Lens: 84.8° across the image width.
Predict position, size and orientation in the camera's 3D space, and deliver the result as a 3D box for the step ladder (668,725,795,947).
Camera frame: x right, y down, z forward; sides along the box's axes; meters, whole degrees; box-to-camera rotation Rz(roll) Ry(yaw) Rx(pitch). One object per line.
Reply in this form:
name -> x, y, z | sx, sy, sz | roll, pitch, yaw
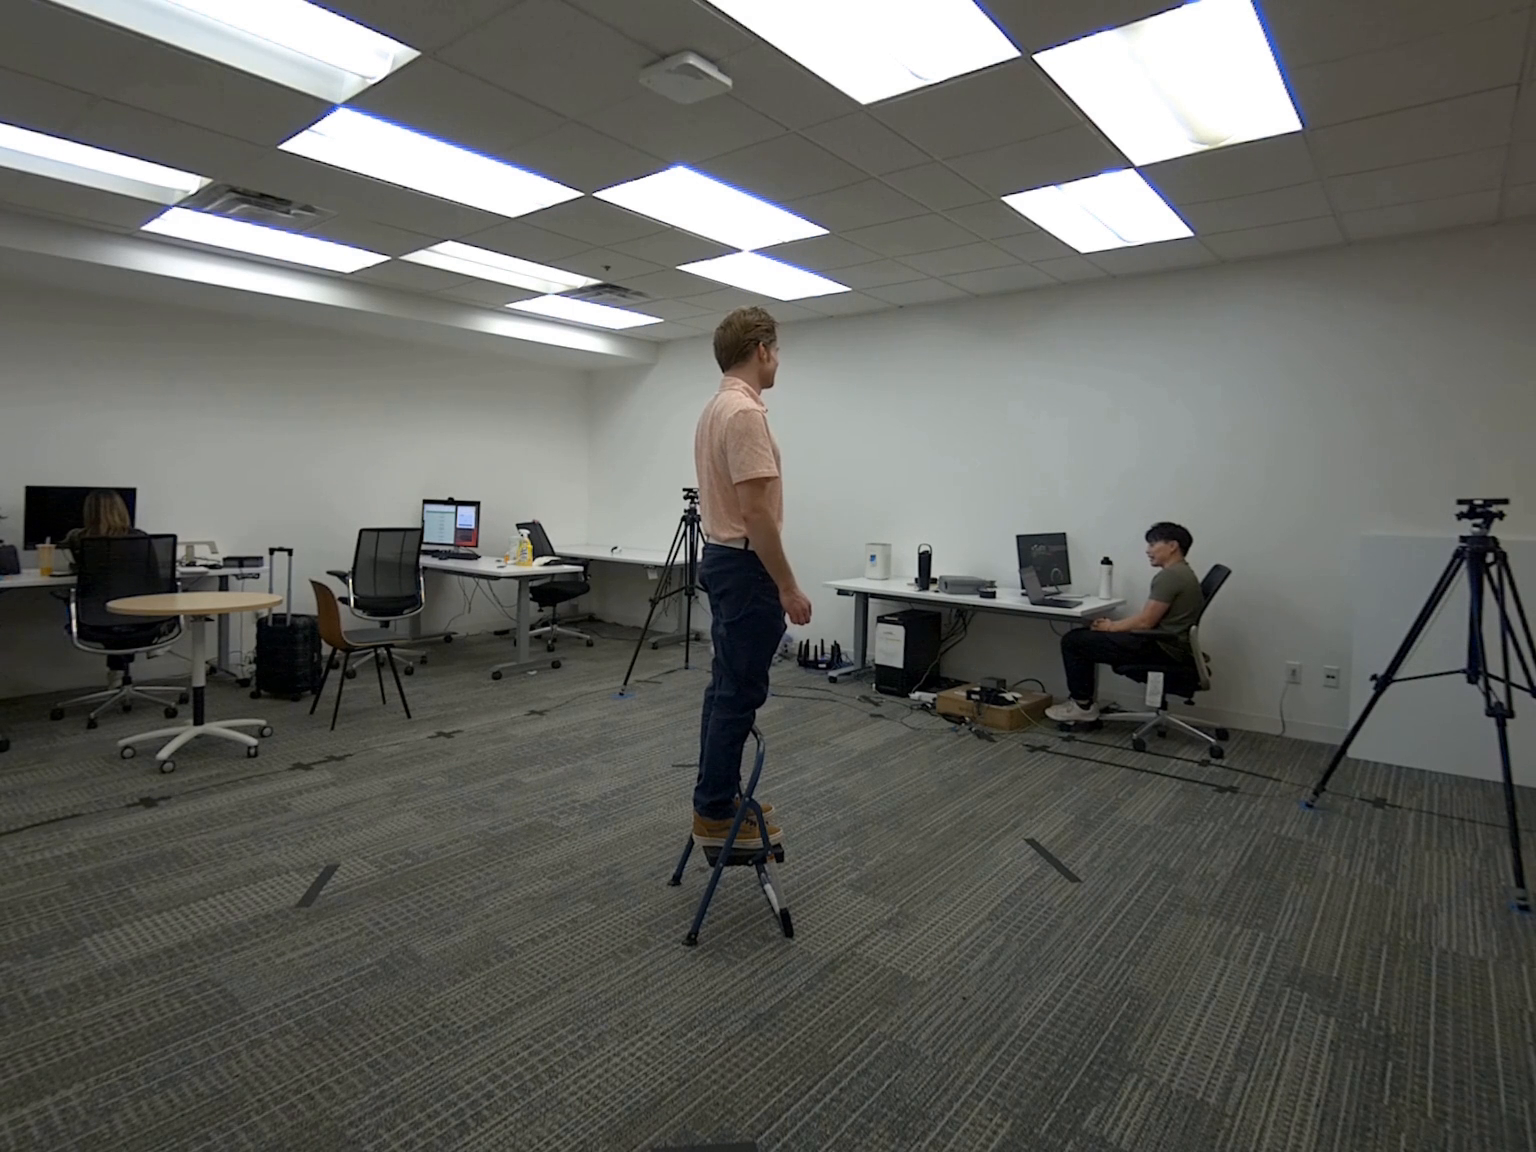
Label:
step ladder -> -0.129, 0.803, 2.803 | 0.345, 0.604, 0.437 | 0, 4, -13
